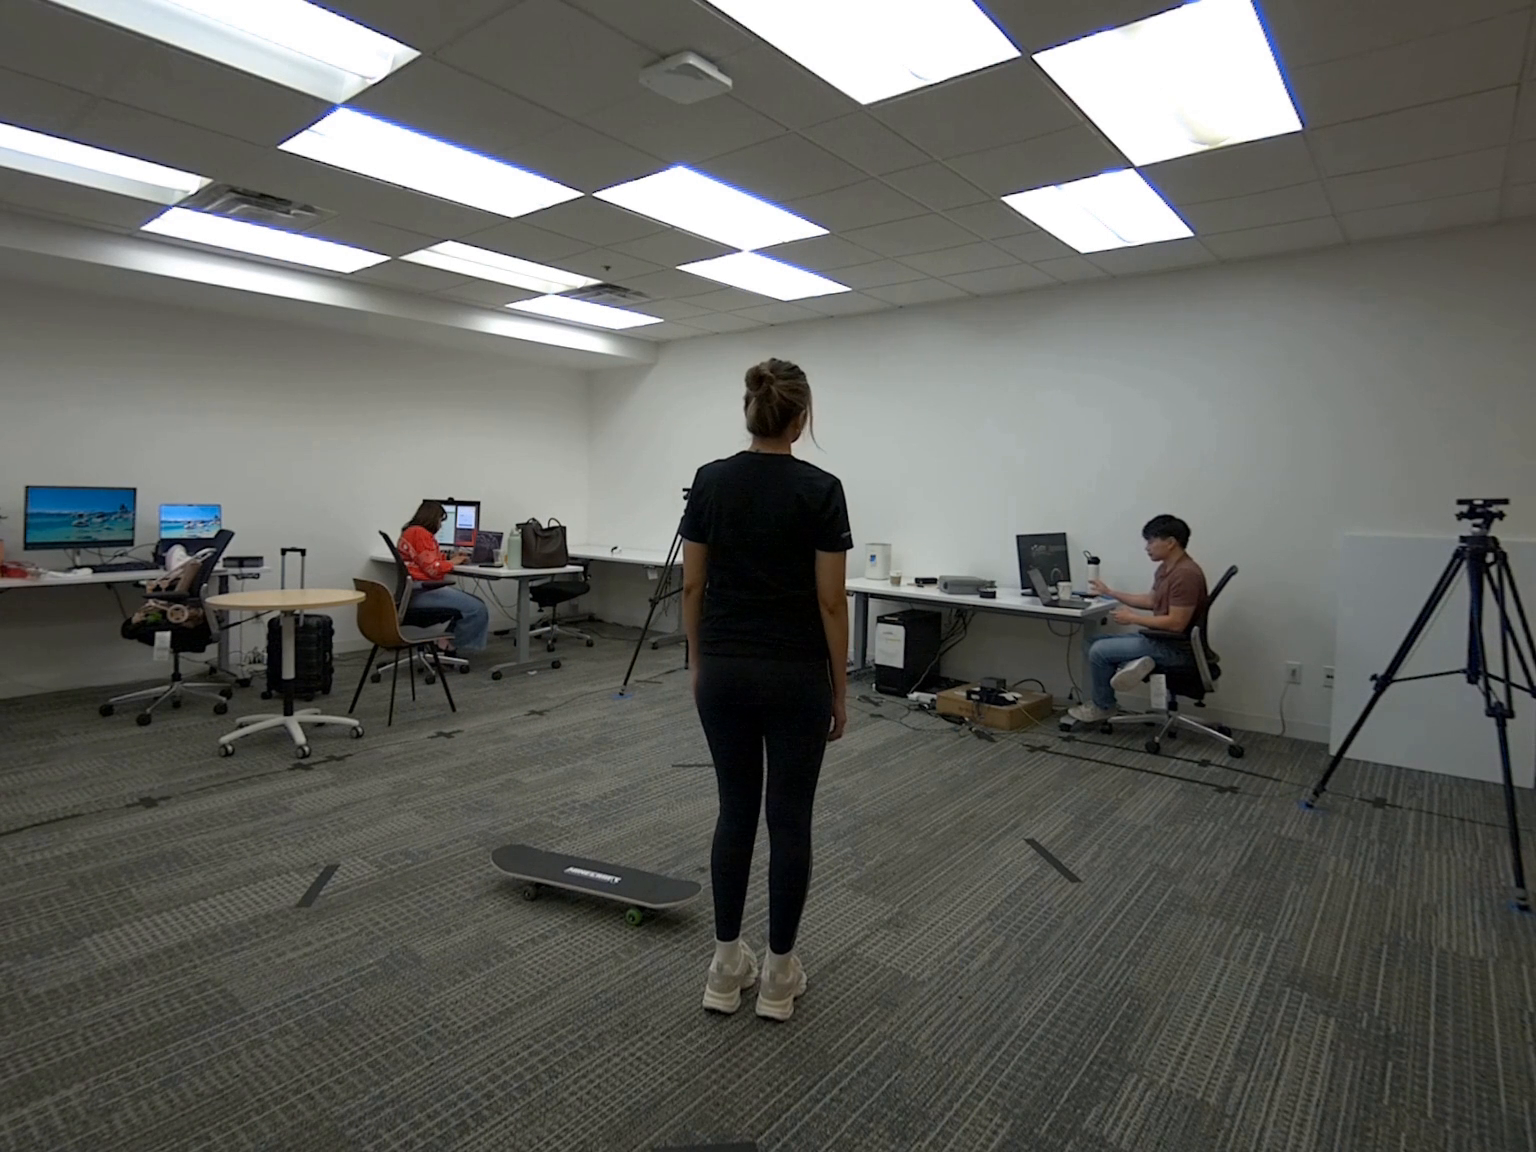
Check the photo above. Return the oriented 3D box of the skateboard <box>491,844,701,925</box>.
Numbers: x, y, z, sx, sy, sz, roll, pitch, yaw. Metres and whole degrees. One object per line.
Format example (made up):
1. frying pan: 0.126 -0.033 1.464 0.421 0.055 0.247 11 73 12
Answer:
1. skateboard: -0.599 1.030 2.850 0.804 0.110 0.190 3 6 22
